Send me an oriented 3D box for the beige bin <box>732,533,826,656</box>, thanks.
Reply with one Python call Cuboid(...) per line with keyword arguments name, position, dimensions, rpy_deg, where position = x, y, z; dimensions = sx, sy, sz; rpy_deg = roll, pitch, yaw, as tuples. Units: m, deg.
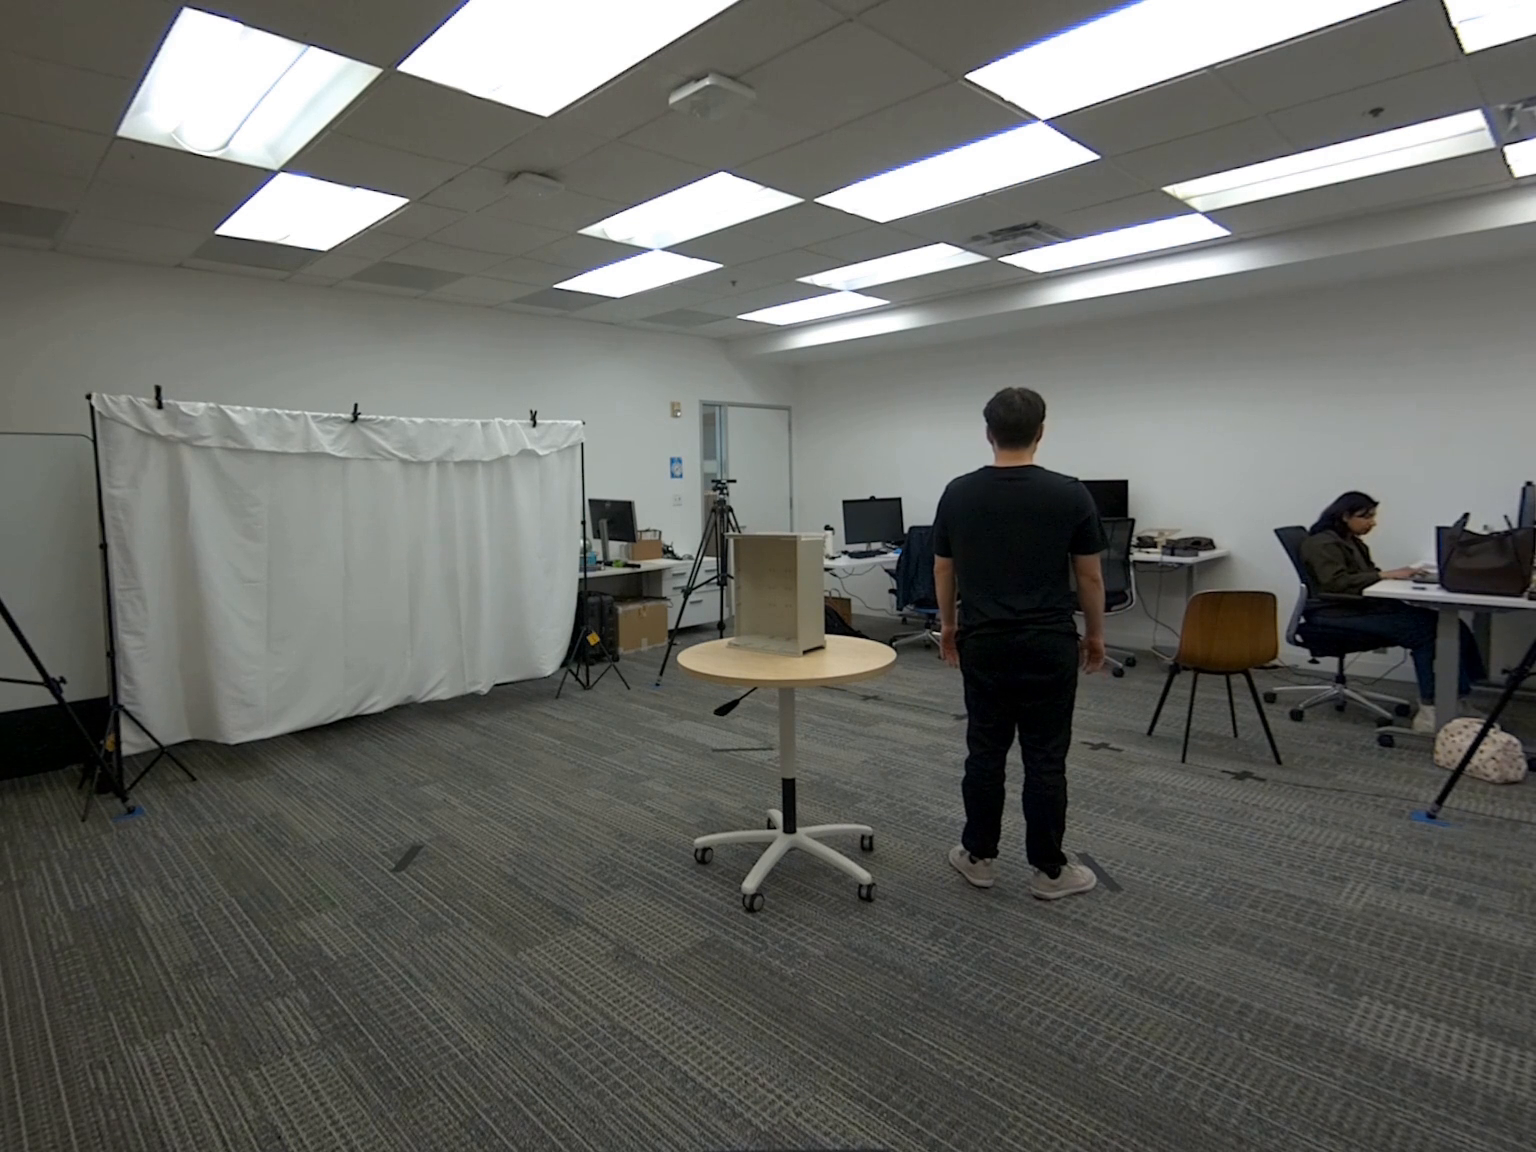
Cuboid(name="beige bin", position=(0.010, 0.053, 3.112), dimensions=(0.388, 0.421, 0.184), rpy_deg=(2, 3, 39))
